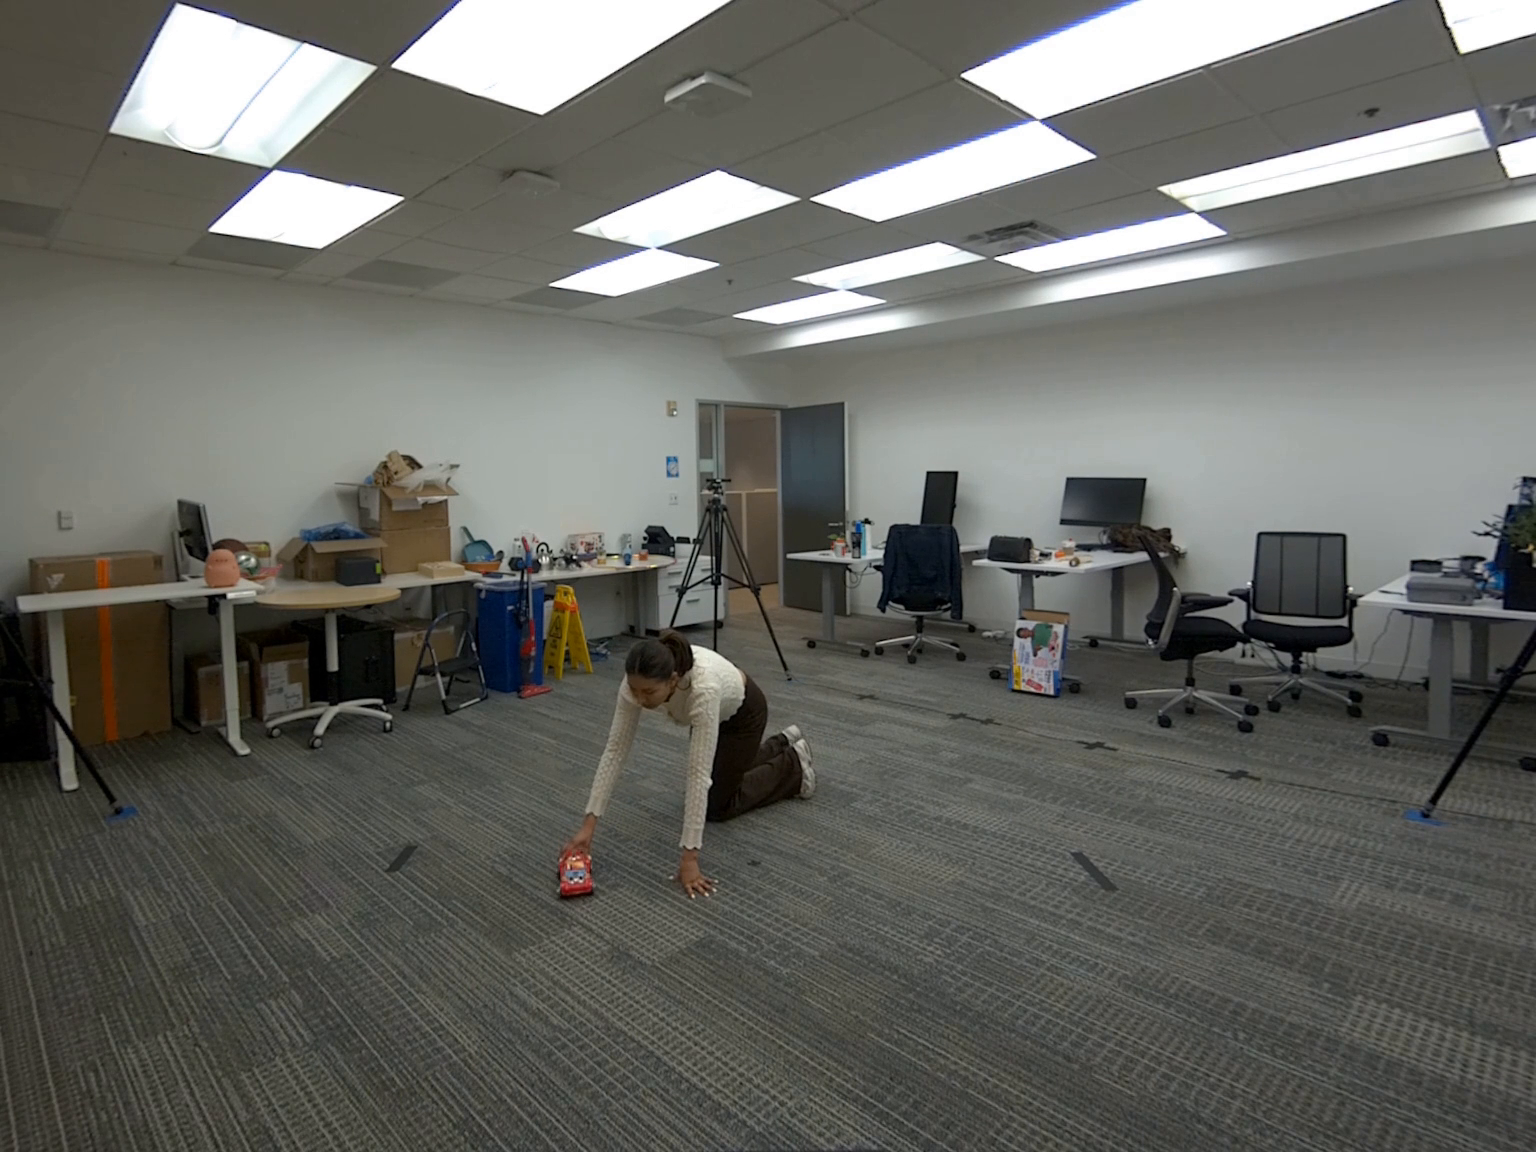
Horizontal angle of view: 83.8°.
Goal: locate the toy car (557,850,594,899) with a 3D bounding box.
[{"bbox_3d":[-0.671,1.041,2.980,0.129,0.082,0.261,-3,16,-13],"label":"toy car"}]
